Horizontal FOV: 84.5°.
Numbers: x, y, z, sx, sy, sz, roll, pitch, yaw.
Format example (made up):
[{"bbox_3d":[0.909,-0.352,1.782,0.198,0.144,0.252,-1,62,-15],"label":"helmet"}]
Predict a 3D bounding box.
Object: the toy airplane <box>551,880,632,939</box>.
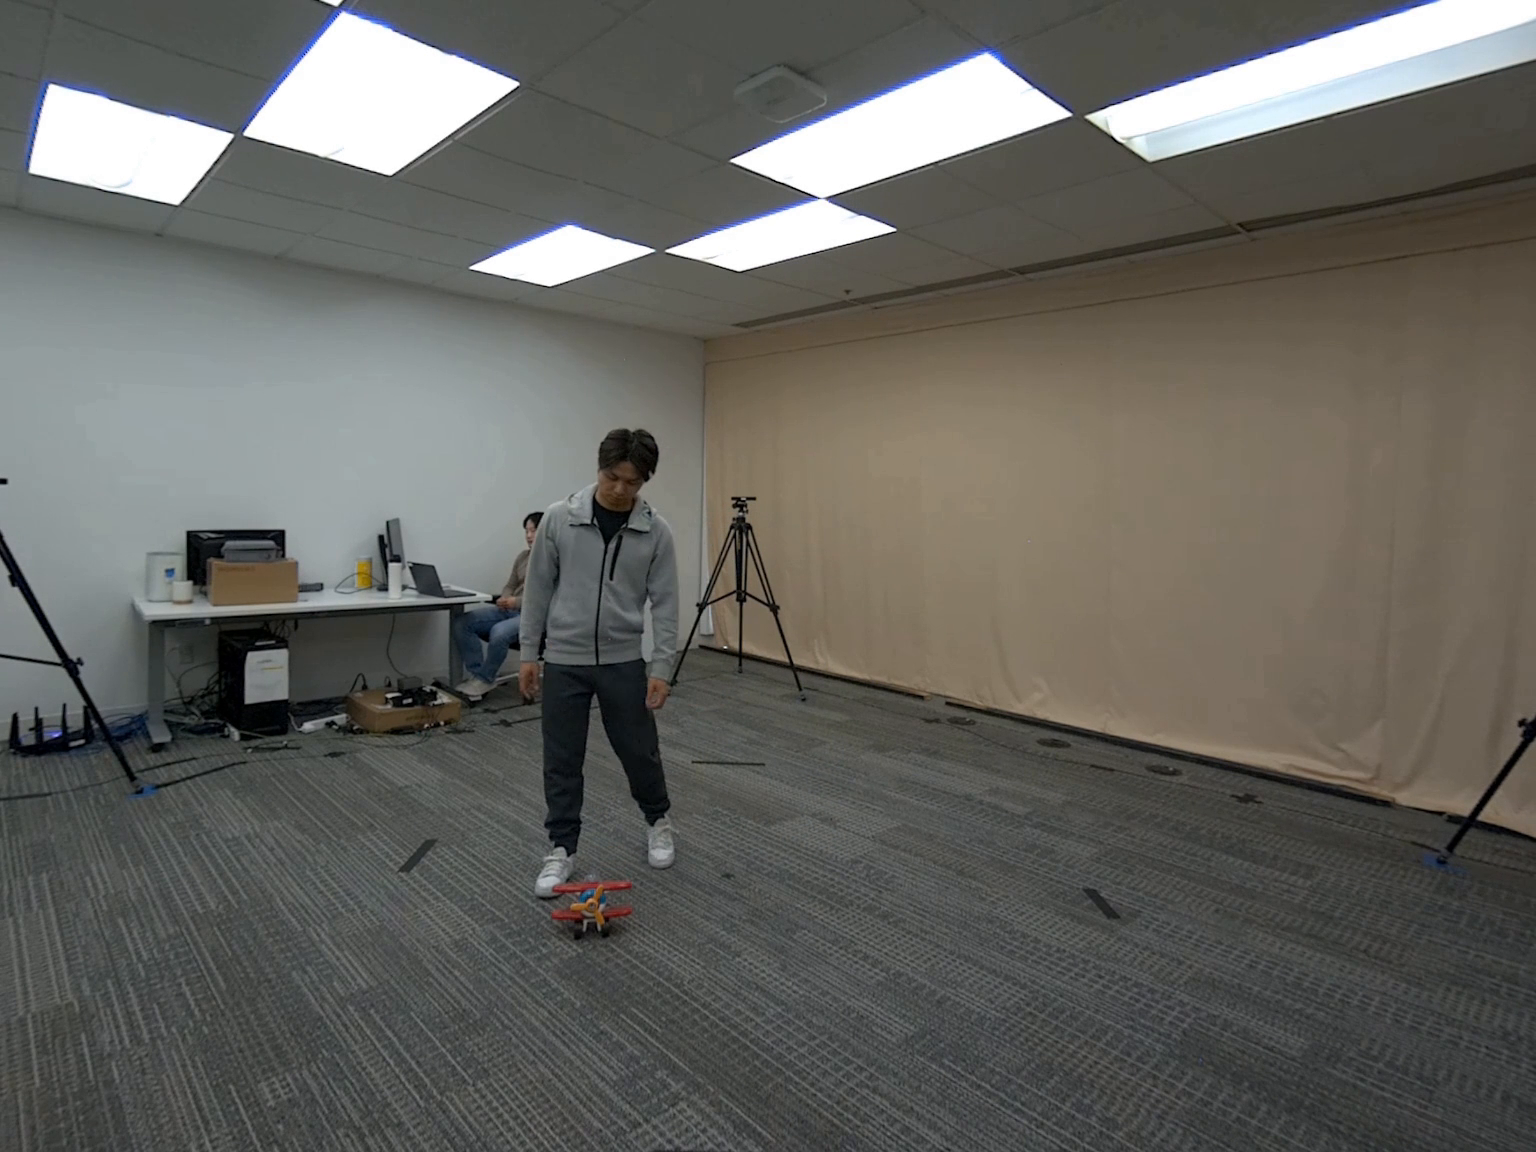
[{"bbox_3d":[-0.603,1.062,2.728,0.246,0.156,0.266,-3,6,-36],"label":"toy airplane"}]
